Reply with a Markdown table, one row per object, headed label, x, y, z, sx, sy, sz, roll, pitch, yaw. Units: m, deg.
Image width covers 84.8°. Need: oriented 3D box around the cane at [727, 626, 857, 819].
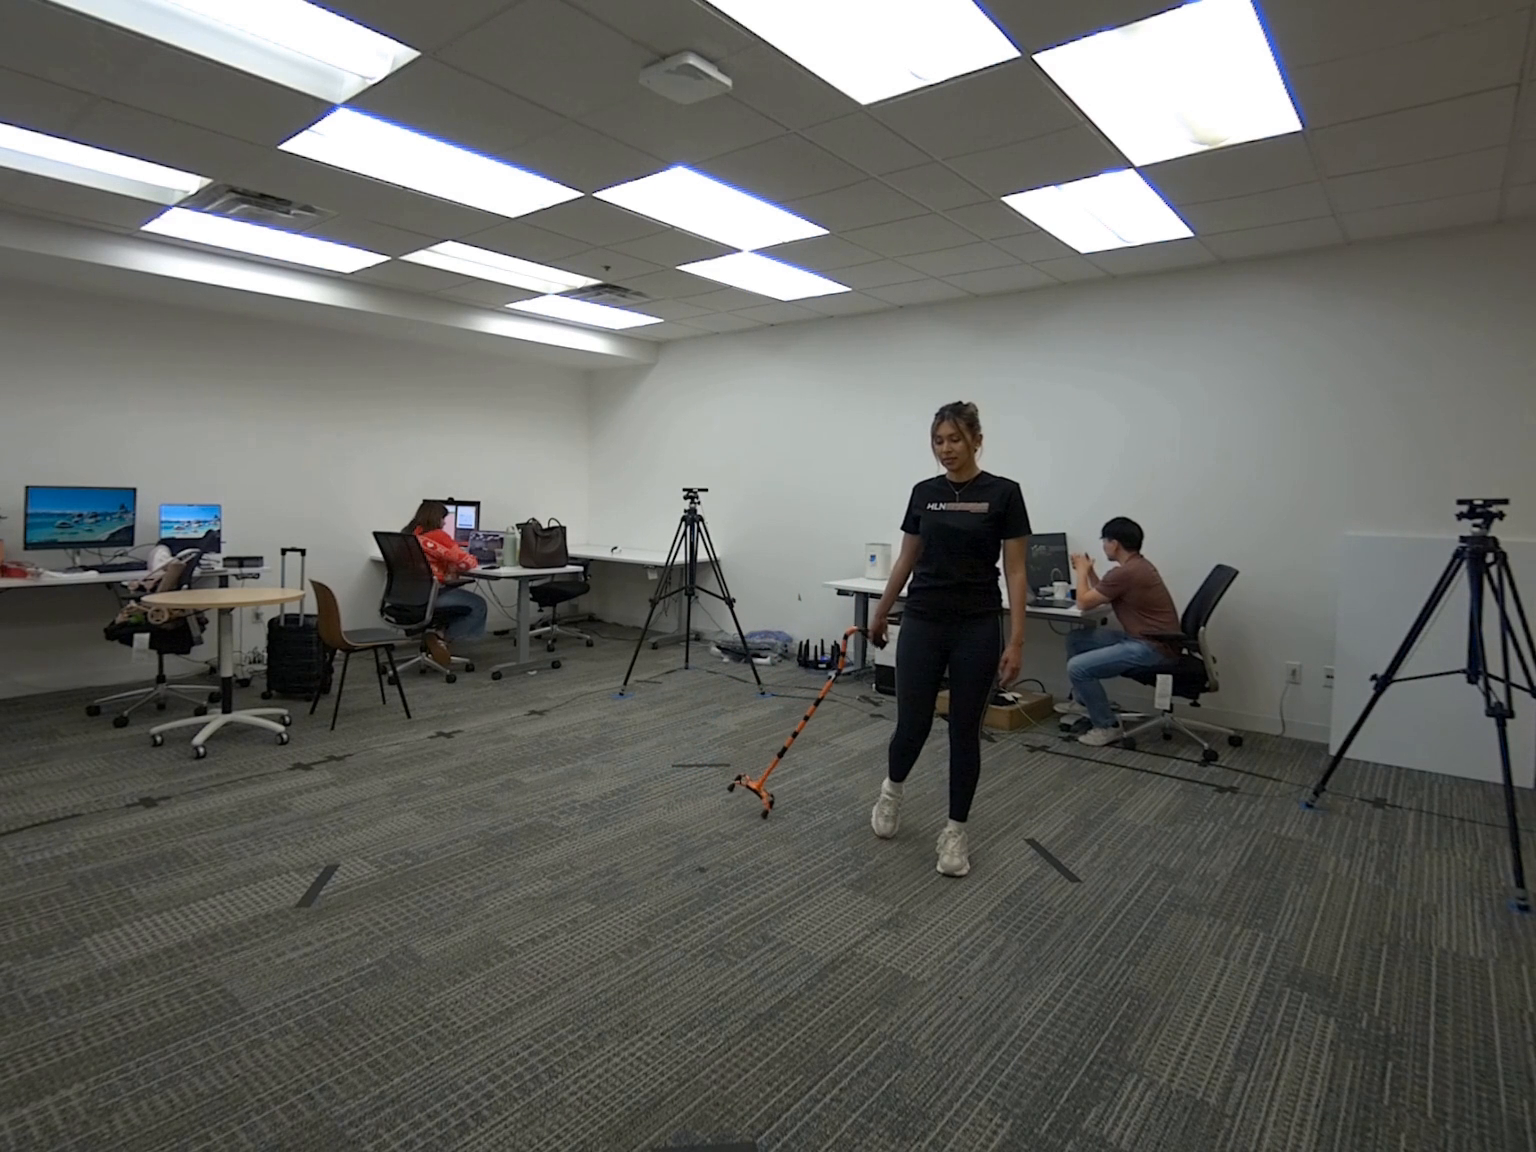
| label | x | y | z | sx | sy | sz | roll | pitch | yaw |
| --- | --- | --- | --- | --- | --- | --- | --- | --- | --- |
| cane | 0.154 | 0.592 | 3.610 | 0.210 | 0.906 | 0.149 | 35 | 9 | 10 |
